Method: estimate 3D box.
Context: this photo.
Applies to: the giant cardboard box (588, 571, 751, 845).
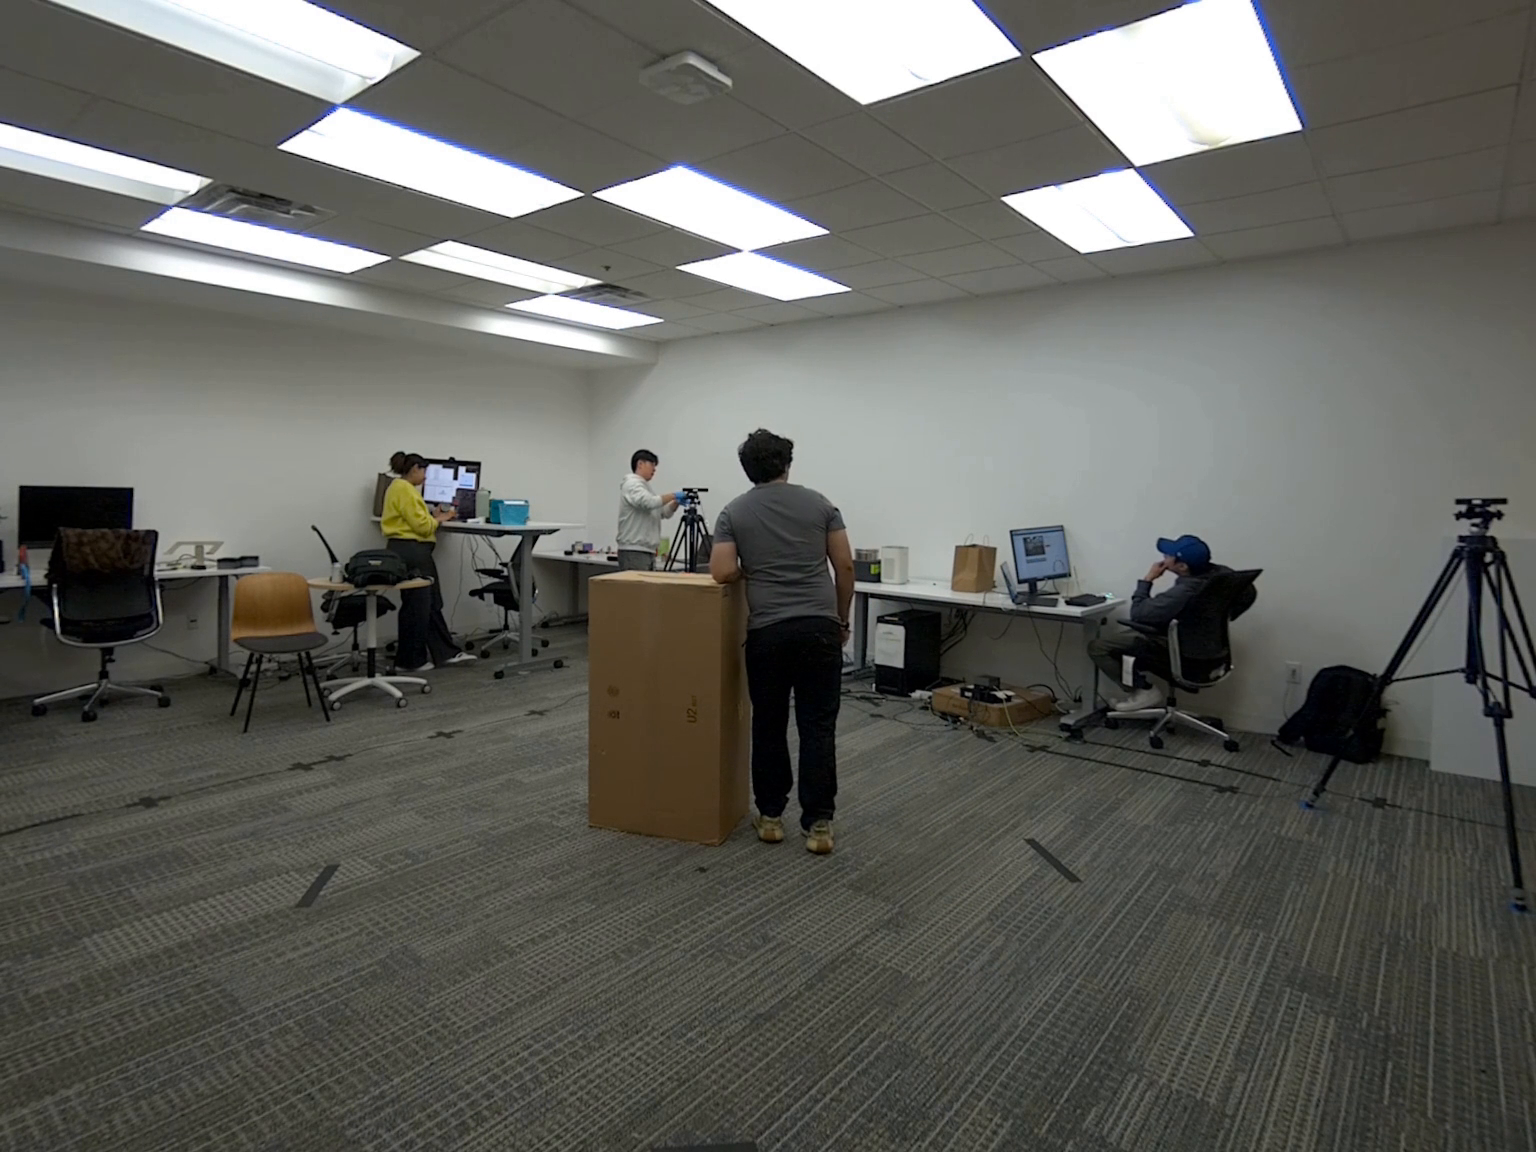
[{"bbox_3d":[-0.420,0.509,3.586,0.589,1.023,0.419,1,3,18],"label":"giant cardboard box"}]
